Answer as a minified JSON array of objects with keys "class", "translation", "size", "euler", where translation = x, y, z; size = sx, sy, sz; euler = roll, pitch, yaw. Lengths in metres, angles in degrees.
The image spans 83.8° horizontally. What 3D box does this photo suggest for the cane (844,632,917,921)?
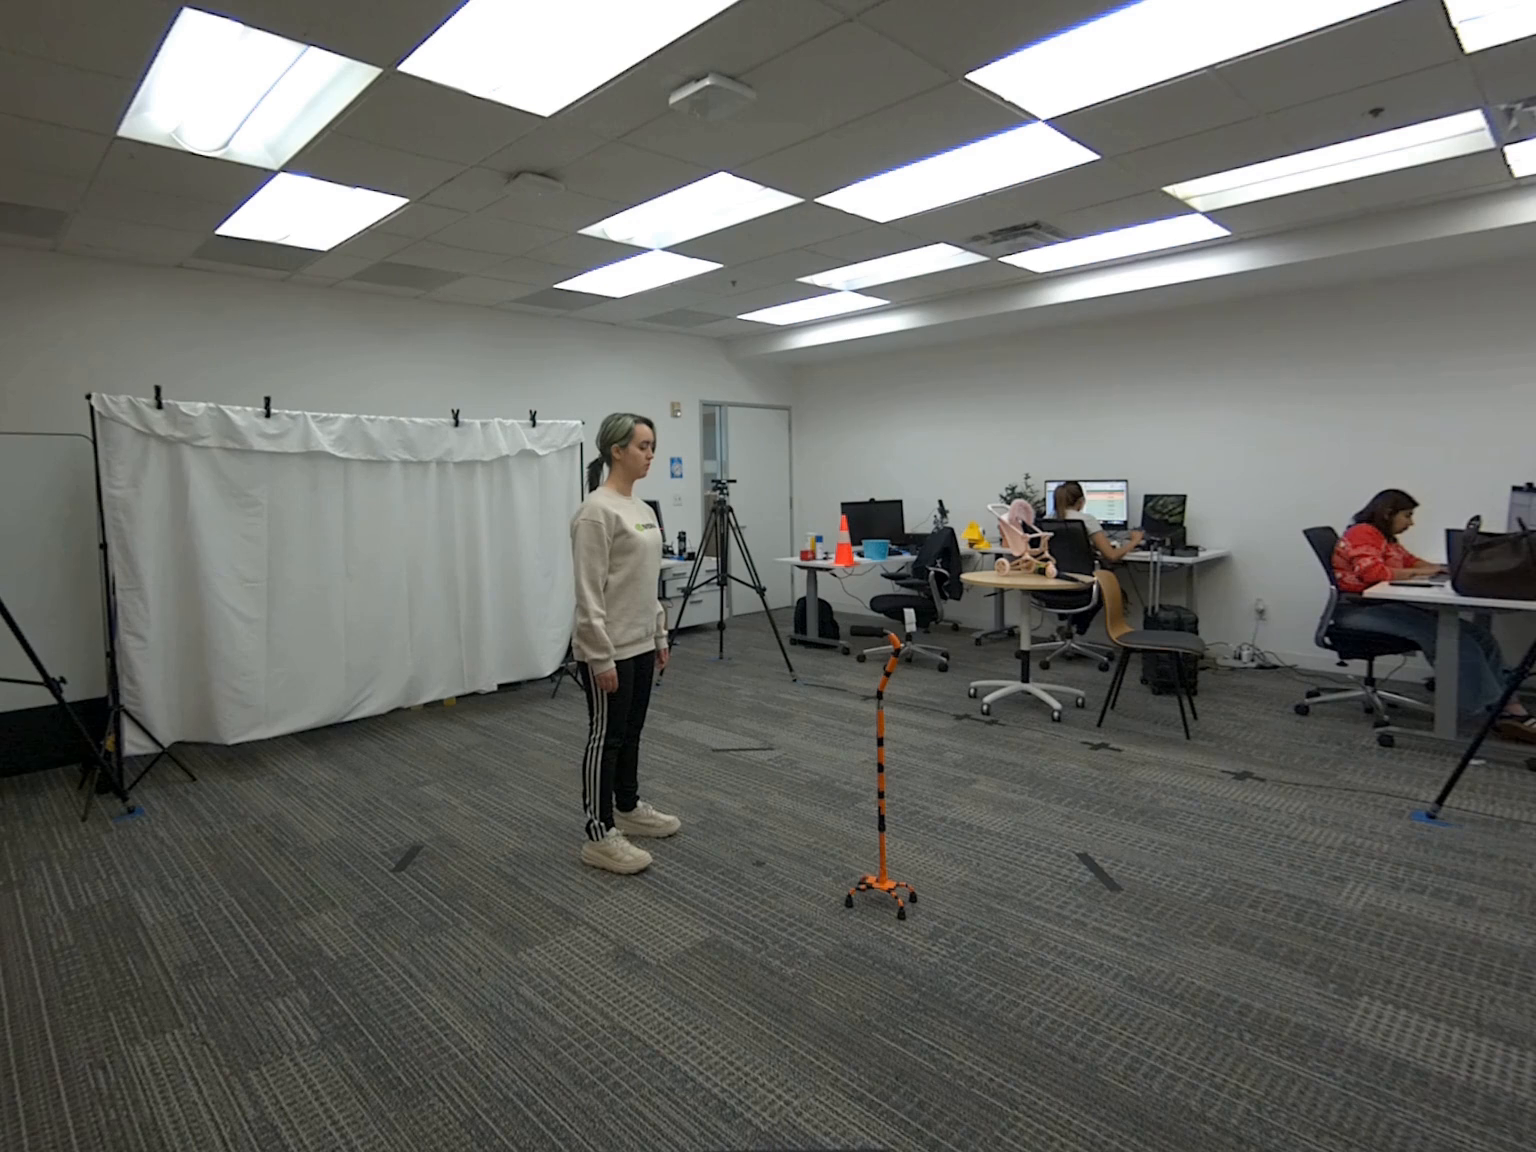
[{"class":"cane","translation":[0.370,0.621,2.768],"size":[0.211,0.905,0.148],"euler":[1,4,26]}]
